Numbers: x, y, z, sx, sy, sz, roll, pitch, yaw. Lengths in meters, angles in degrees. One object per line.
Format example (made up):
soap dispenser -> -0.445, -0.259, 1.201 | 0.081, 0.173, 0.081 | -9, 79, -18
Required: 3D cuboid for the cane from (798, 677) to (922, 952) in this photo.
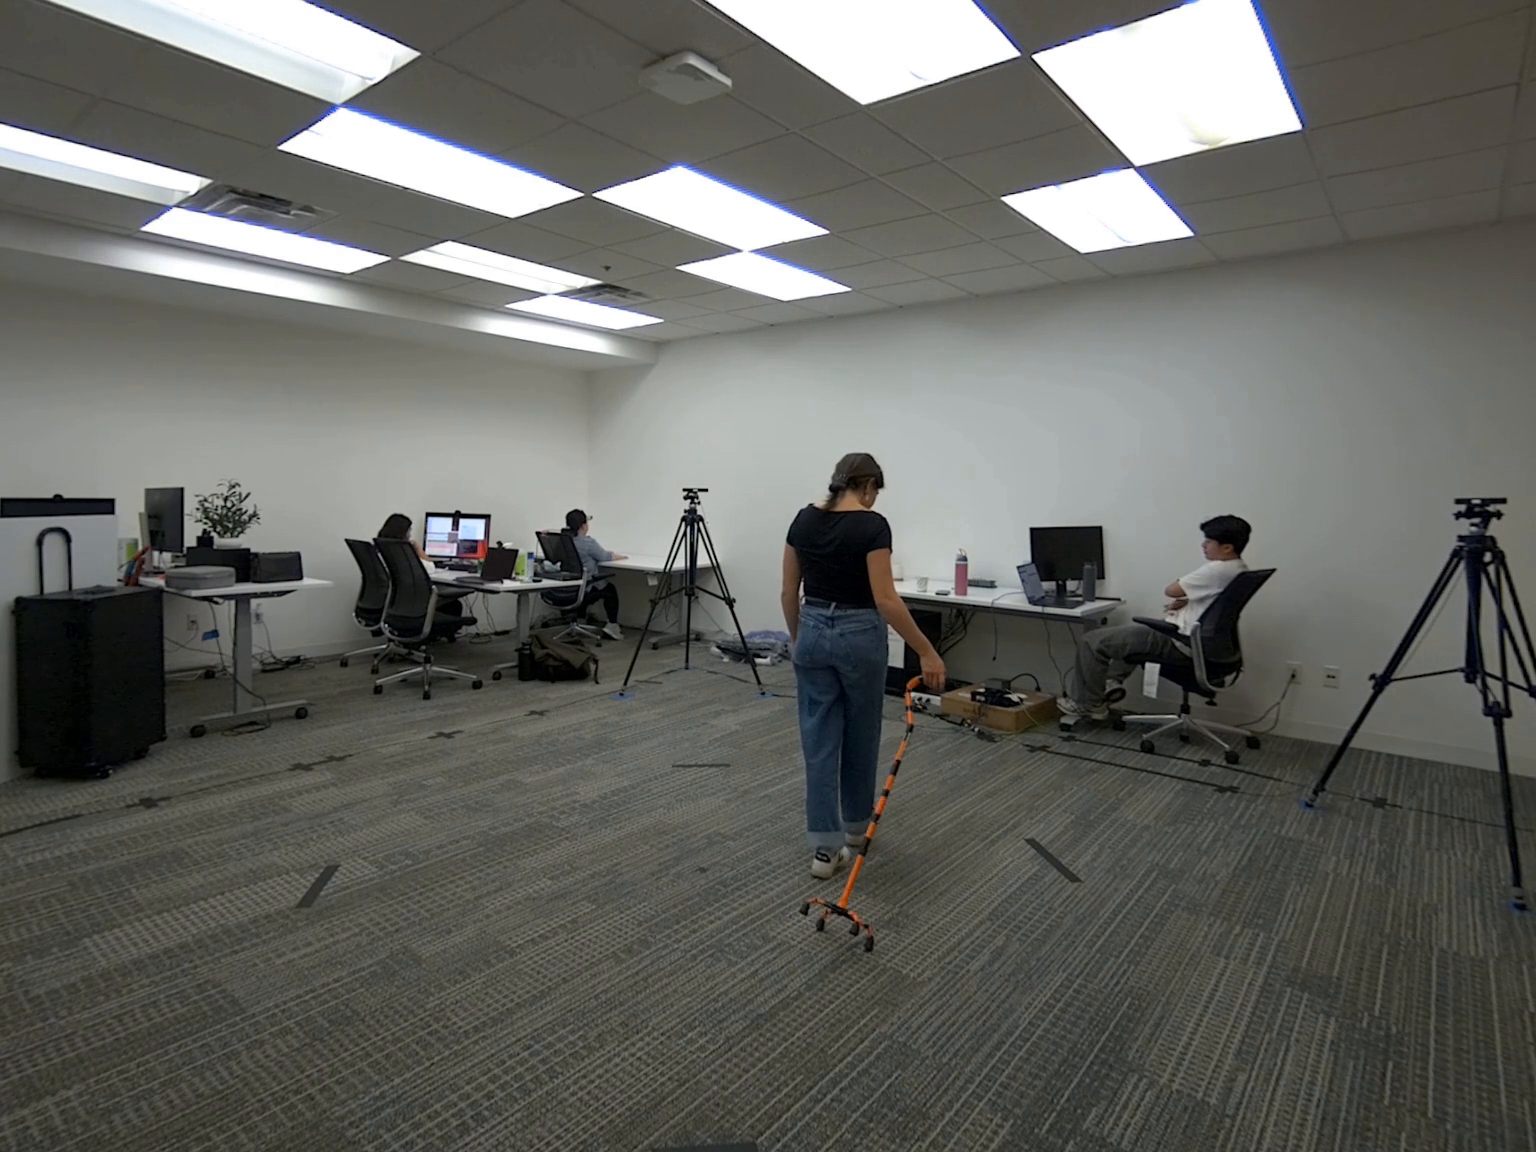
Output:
cane -> 0.401, 0.718, 2.803 | 0.213, 0.915, 0.145 | 6, -34, 36
